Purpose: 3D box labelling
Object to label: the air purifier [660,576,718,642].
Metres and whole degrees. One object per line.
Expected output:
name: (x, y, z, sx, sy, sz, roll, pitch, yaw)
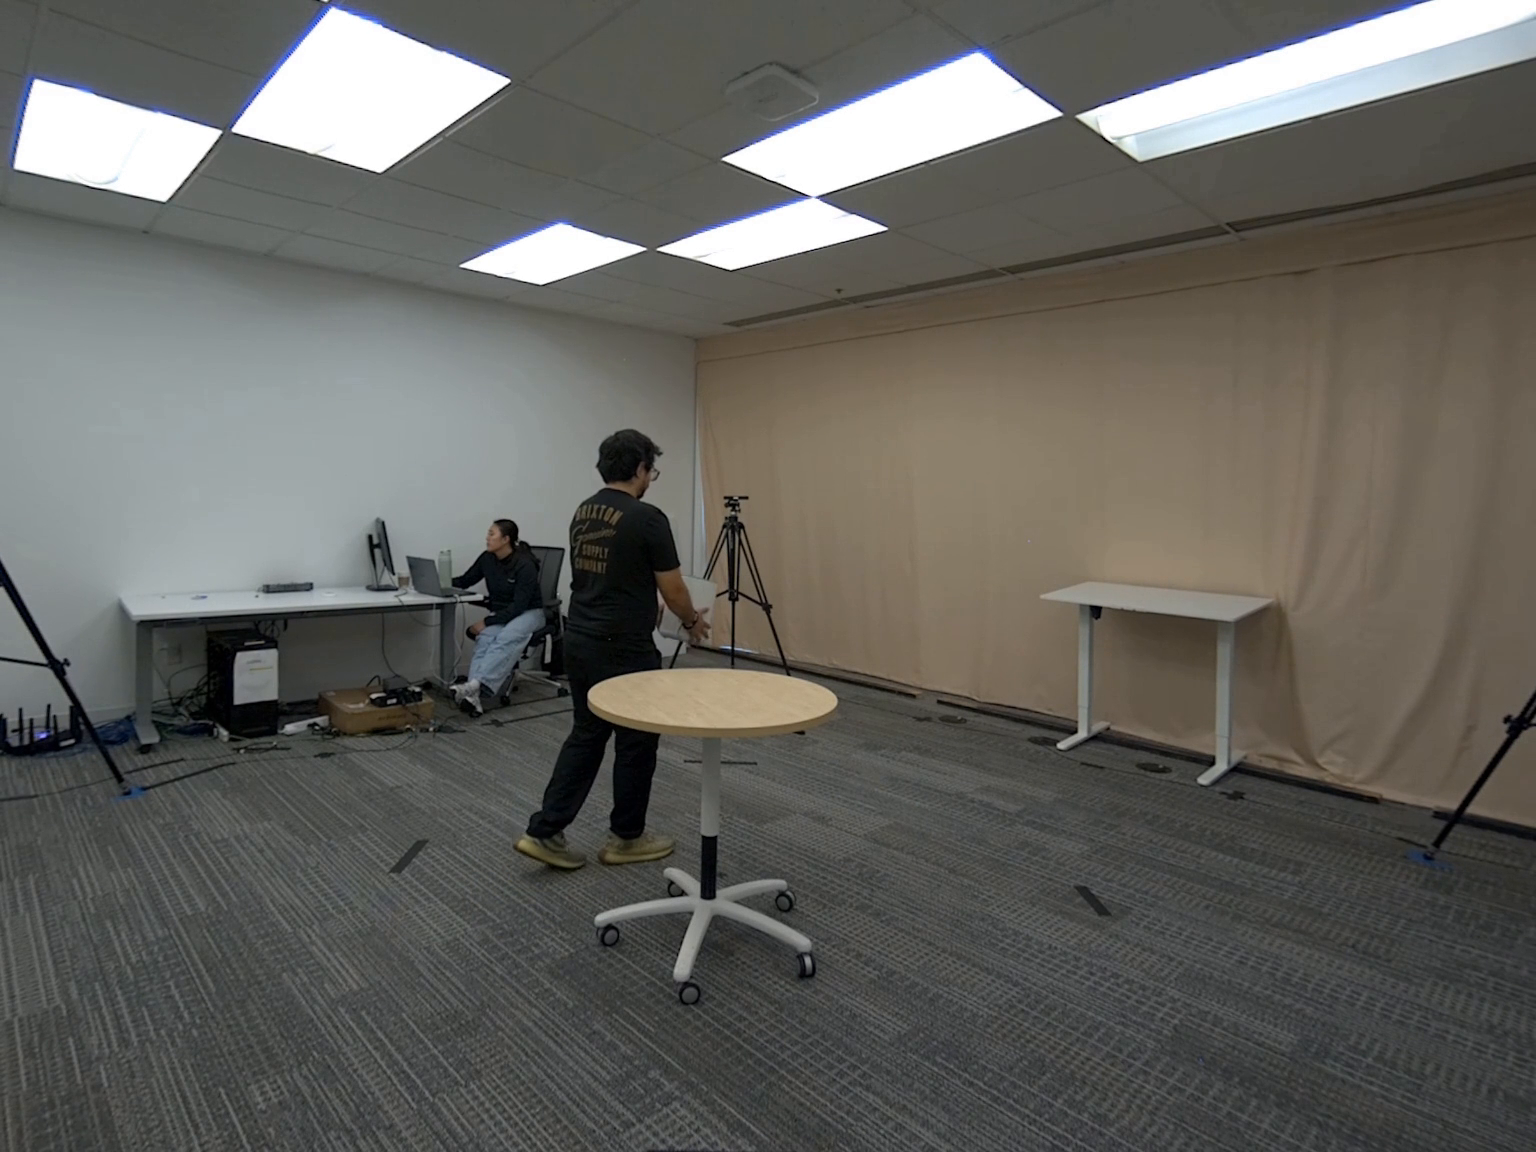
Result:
air purifier: (-0.339, 0.133, 3.470, 0.176, 0.266, 0.166, 9, -4, 39)
